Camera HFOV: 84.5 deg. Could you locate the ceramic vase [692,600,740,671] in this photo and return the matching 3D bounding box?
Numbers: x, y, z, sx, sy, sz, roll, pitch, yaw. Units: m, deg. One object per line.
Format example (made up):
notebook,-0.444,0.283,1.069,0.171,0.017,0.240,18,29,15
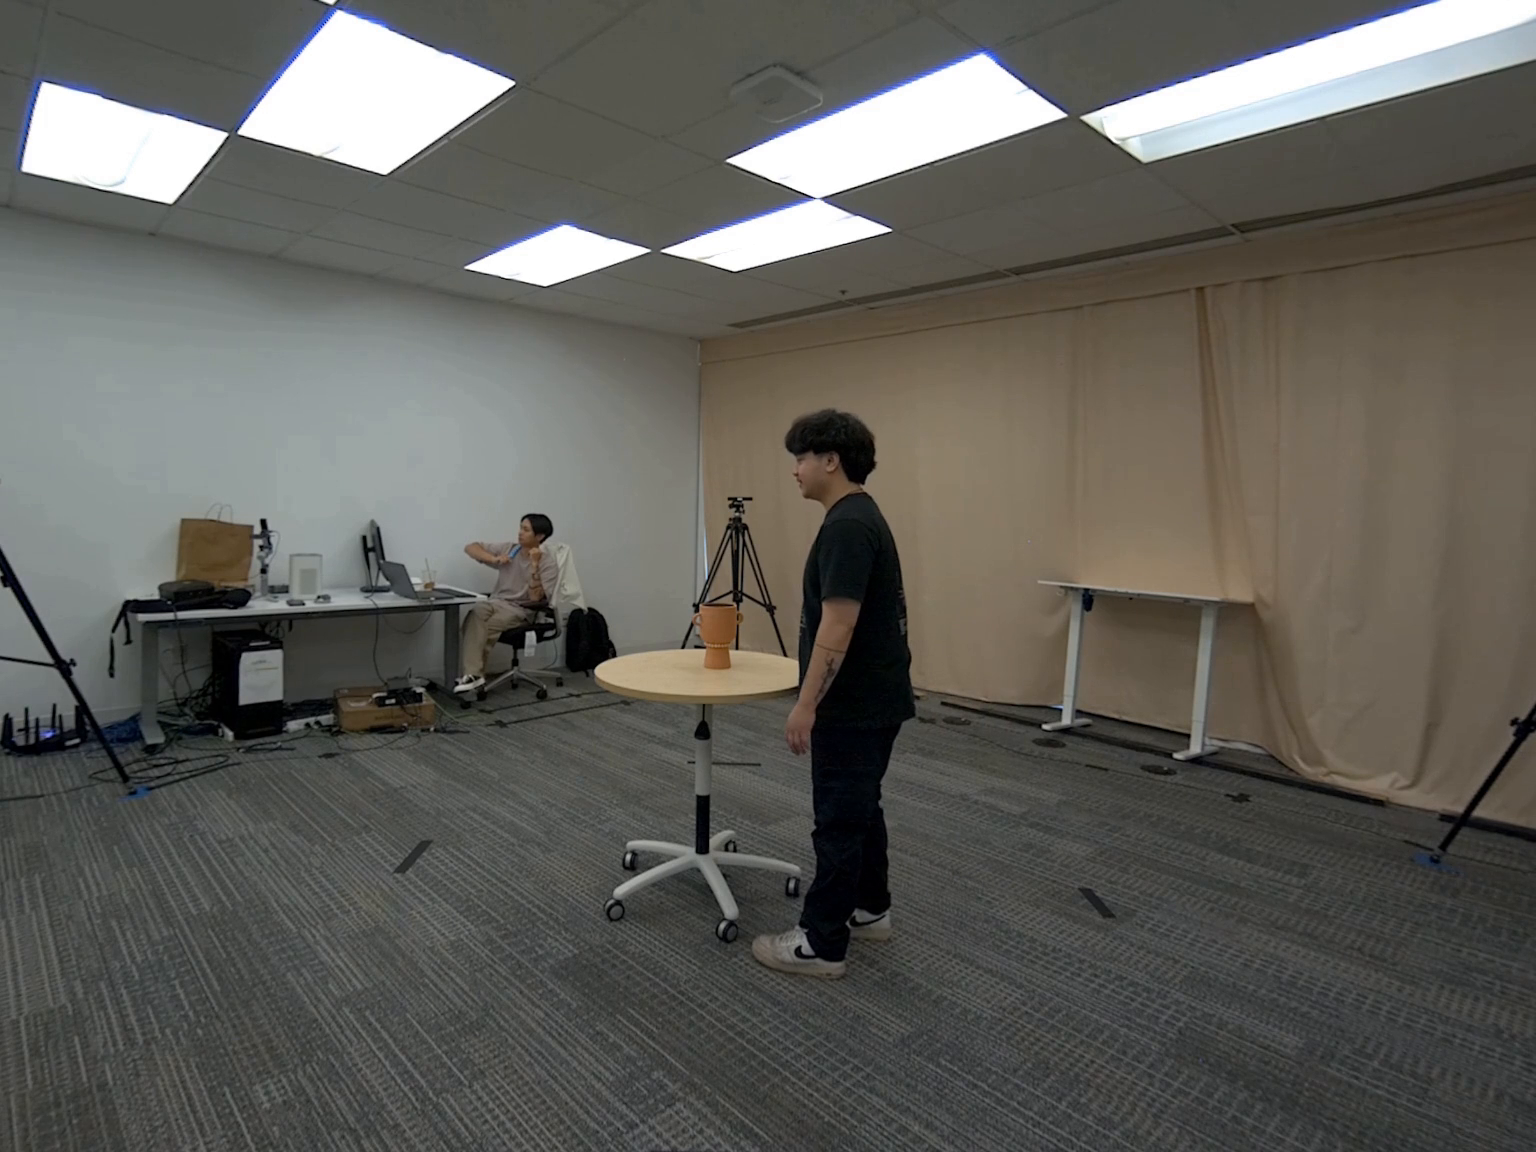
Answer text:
ceramic vase,-0.185,0.214,2.984,0.132,0.219,0.162,-1,5,-22
